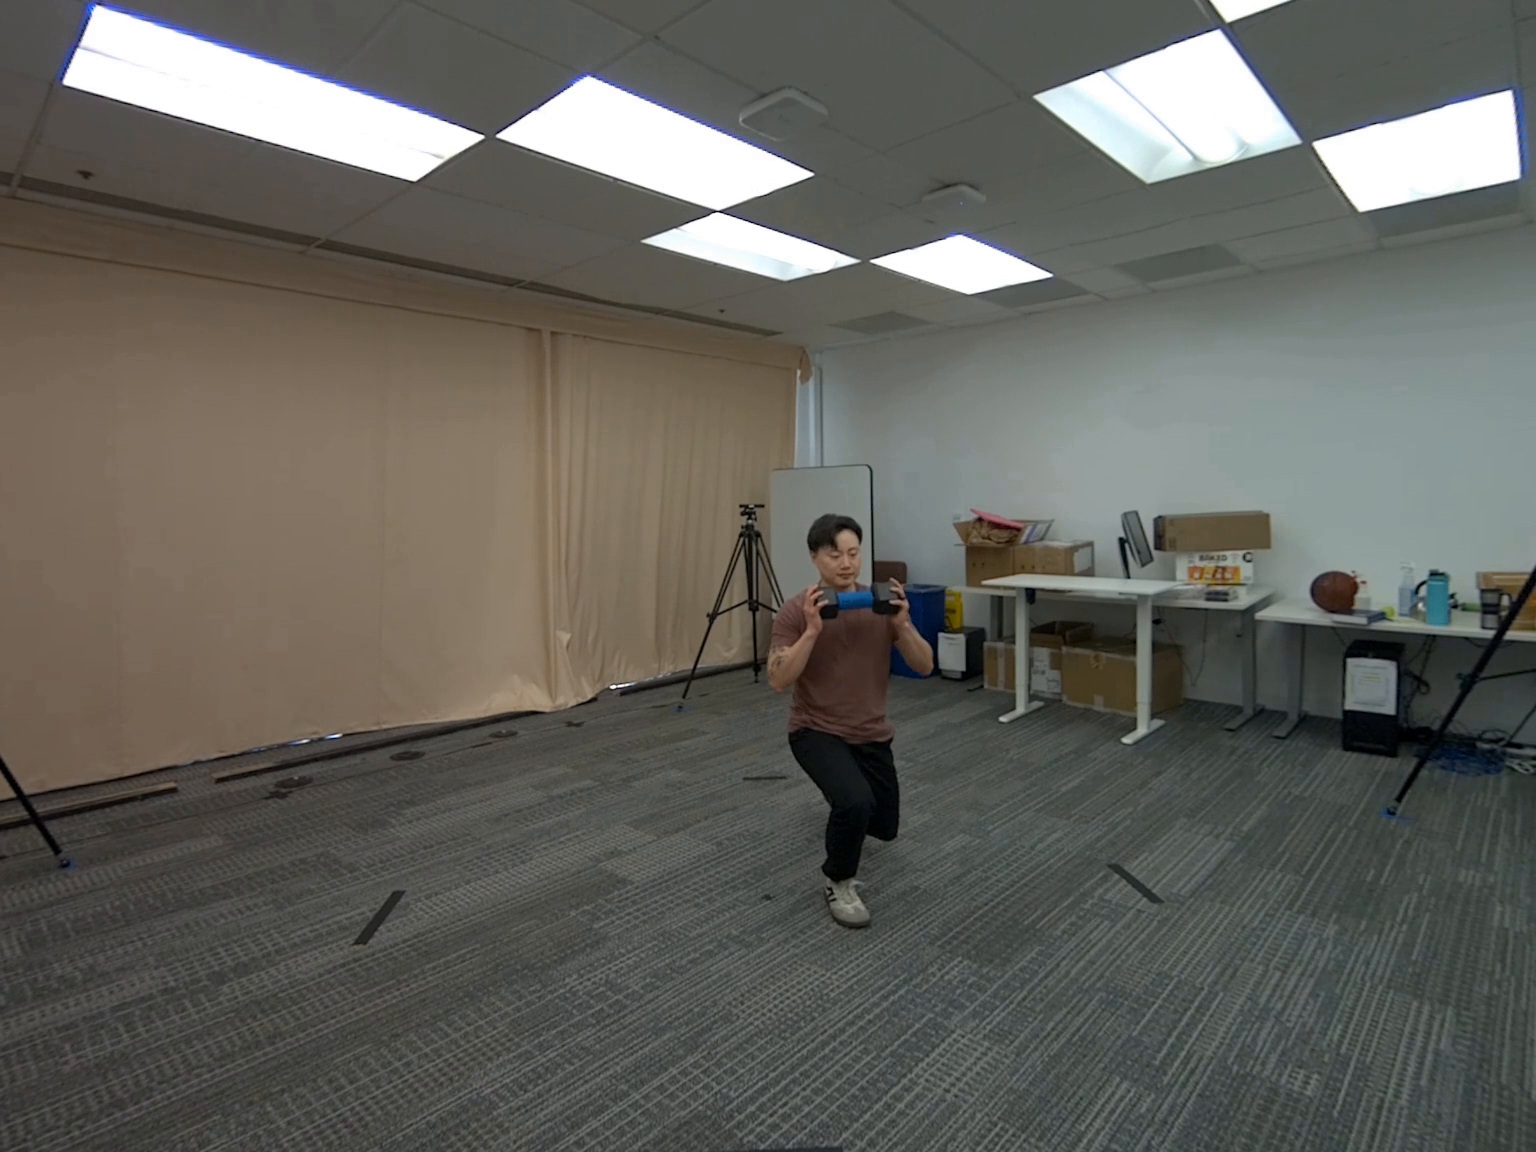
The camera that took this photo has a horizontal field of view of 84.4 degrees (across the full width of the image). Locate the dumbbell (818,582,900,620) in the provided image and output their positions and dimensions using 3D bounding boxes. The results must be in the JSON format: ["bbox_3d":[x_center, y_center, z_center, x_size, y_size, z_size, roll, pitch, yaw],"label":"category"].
[{"bbox_3d":[0.315,0.082,2.973,0.294,0.109,0.122,-4,-1,1],"label":"dumbbell"}]
